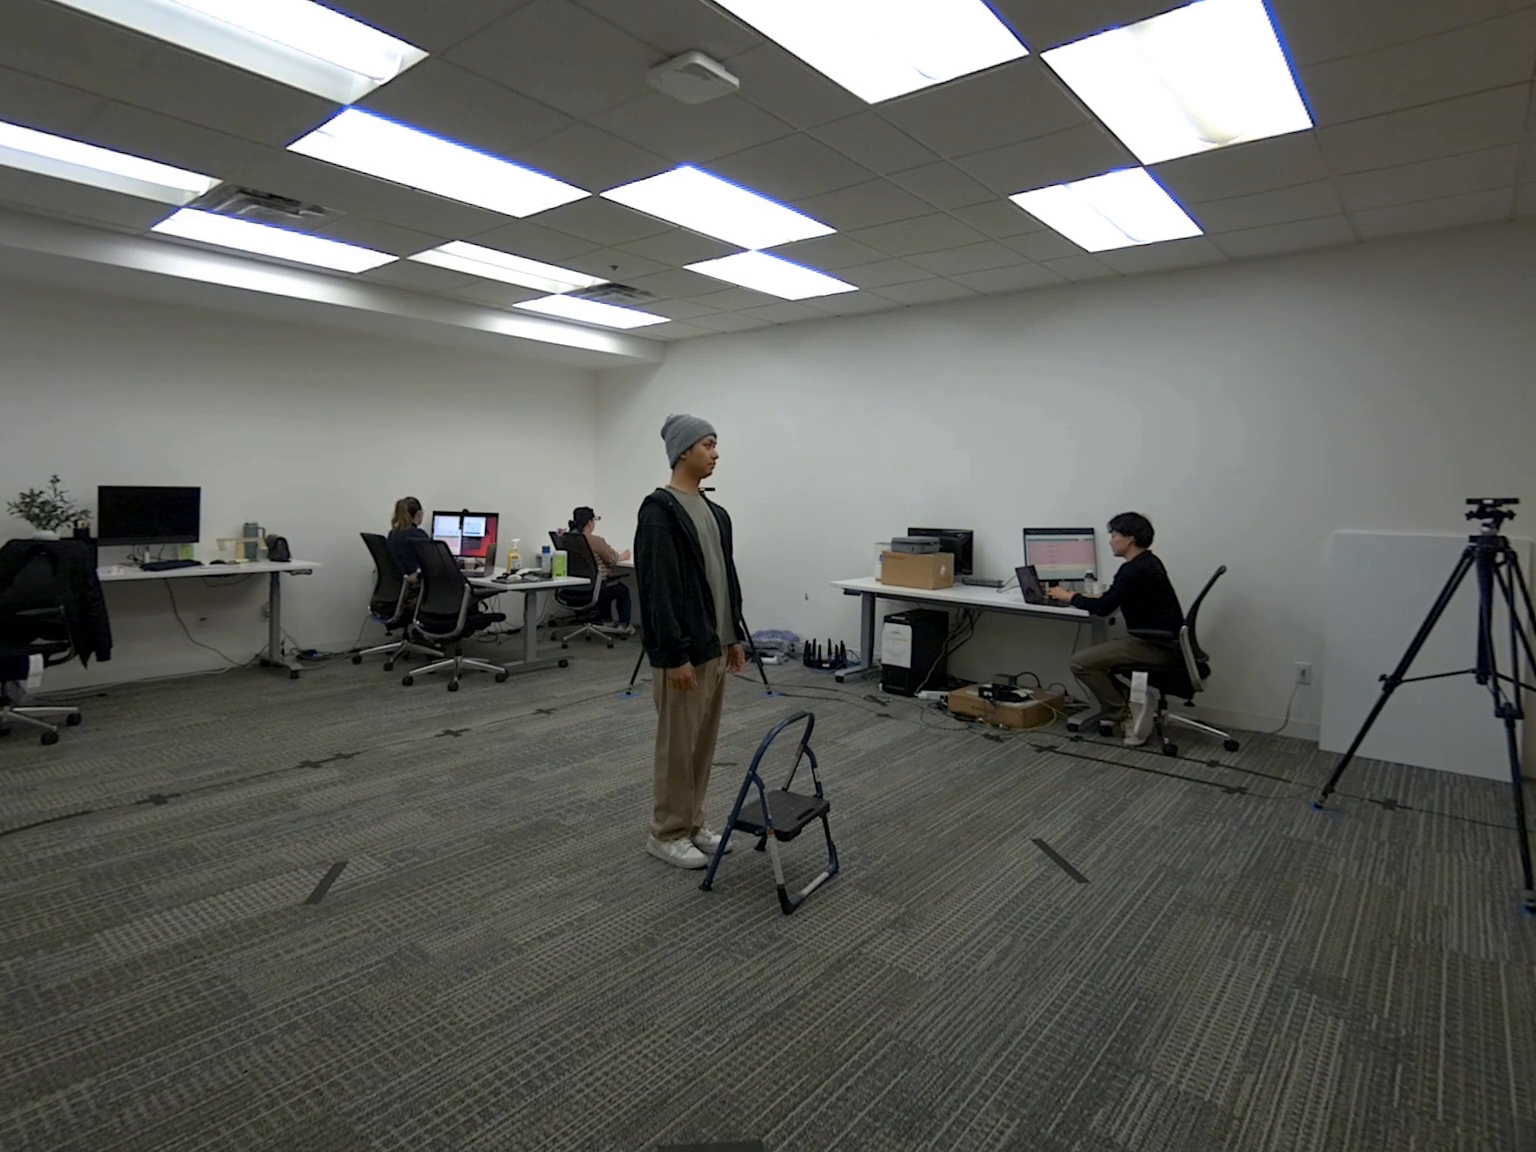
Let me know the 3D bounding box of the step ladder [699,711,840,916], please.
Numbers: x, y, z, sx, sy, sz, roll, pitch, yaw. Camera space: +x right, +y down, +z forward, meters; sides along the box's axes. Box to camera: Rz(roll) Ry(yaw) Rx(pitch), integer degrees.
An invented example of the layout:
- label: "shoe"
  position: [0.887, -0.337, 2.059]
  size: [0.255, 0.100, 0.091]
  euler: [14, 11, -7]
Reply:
- label: "step ladder"
  position: [0.015, 0.776, 3.018]
  size: [0.359, 0.604, 0.419]
  euler: [3, 4, 29]
